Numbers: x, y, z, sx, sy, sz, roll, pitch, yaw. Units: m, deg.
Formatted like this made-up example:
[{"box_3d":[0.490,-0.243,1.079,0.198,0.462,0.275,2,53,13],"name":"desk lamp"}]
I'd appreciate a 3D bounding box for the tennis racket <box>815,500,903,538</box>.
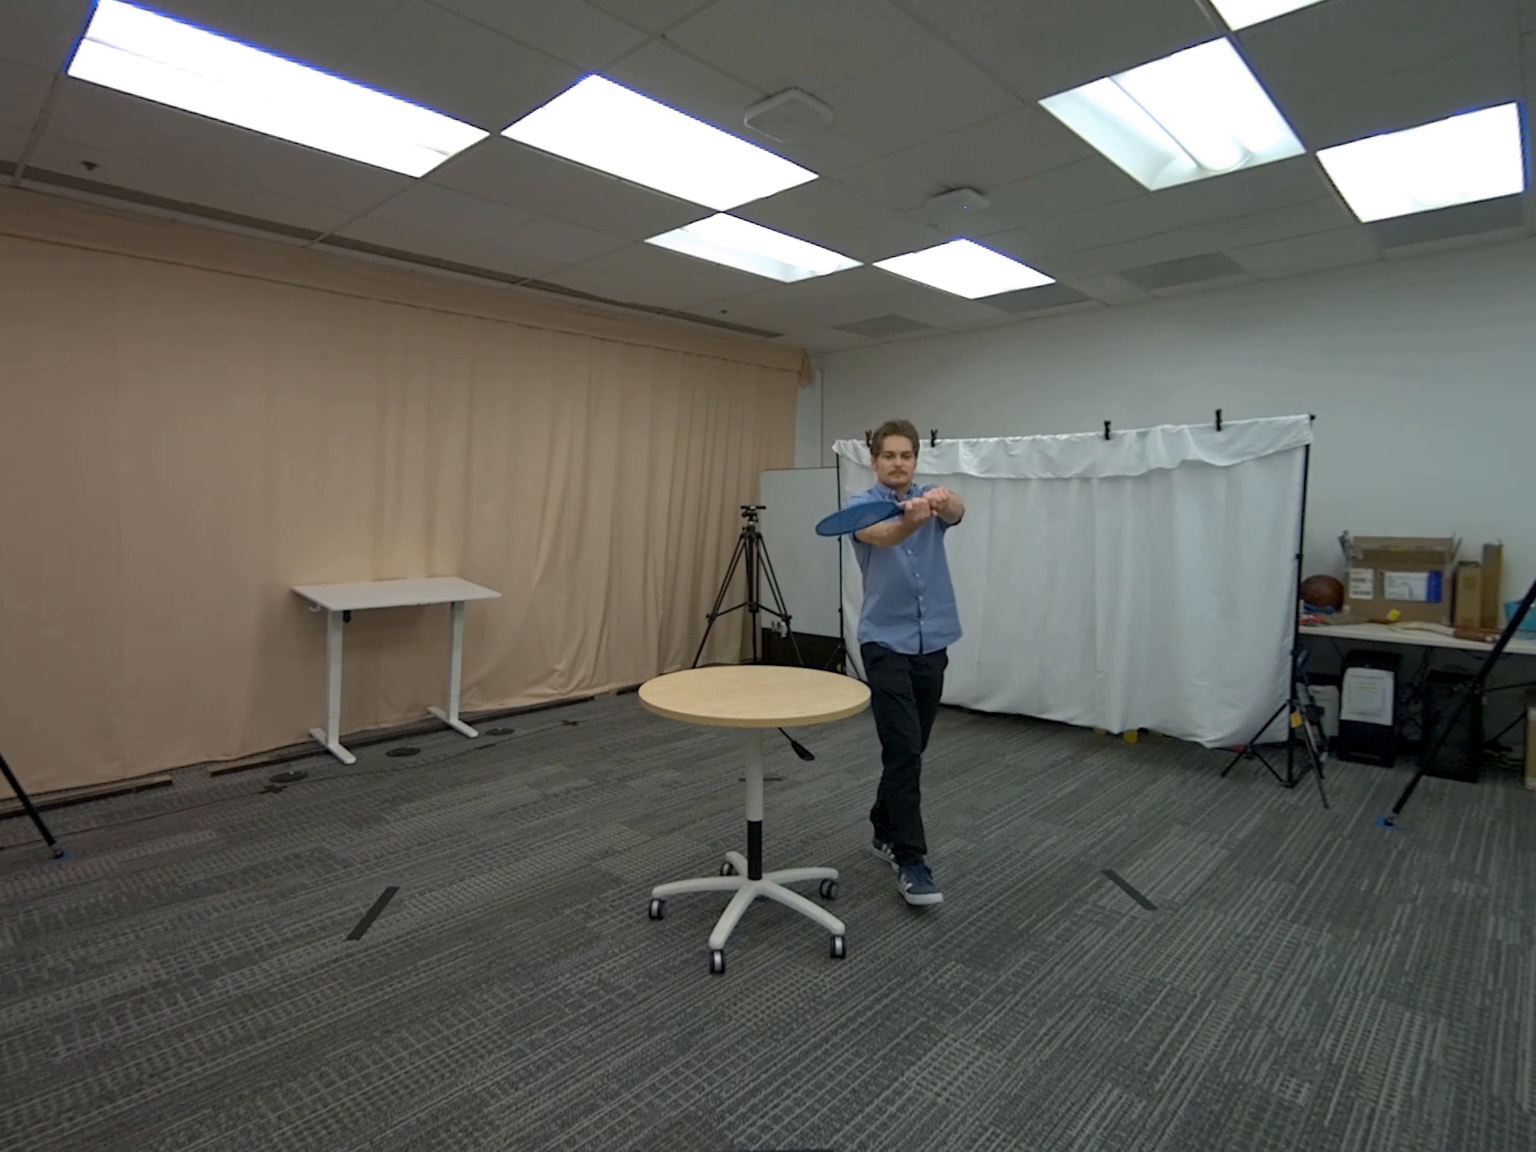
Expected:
[{"box_3d":[0.321,-0.187,2.562,0.422,0.032,0.215,-9,-19,-30],"name":"tennis racket"}]
